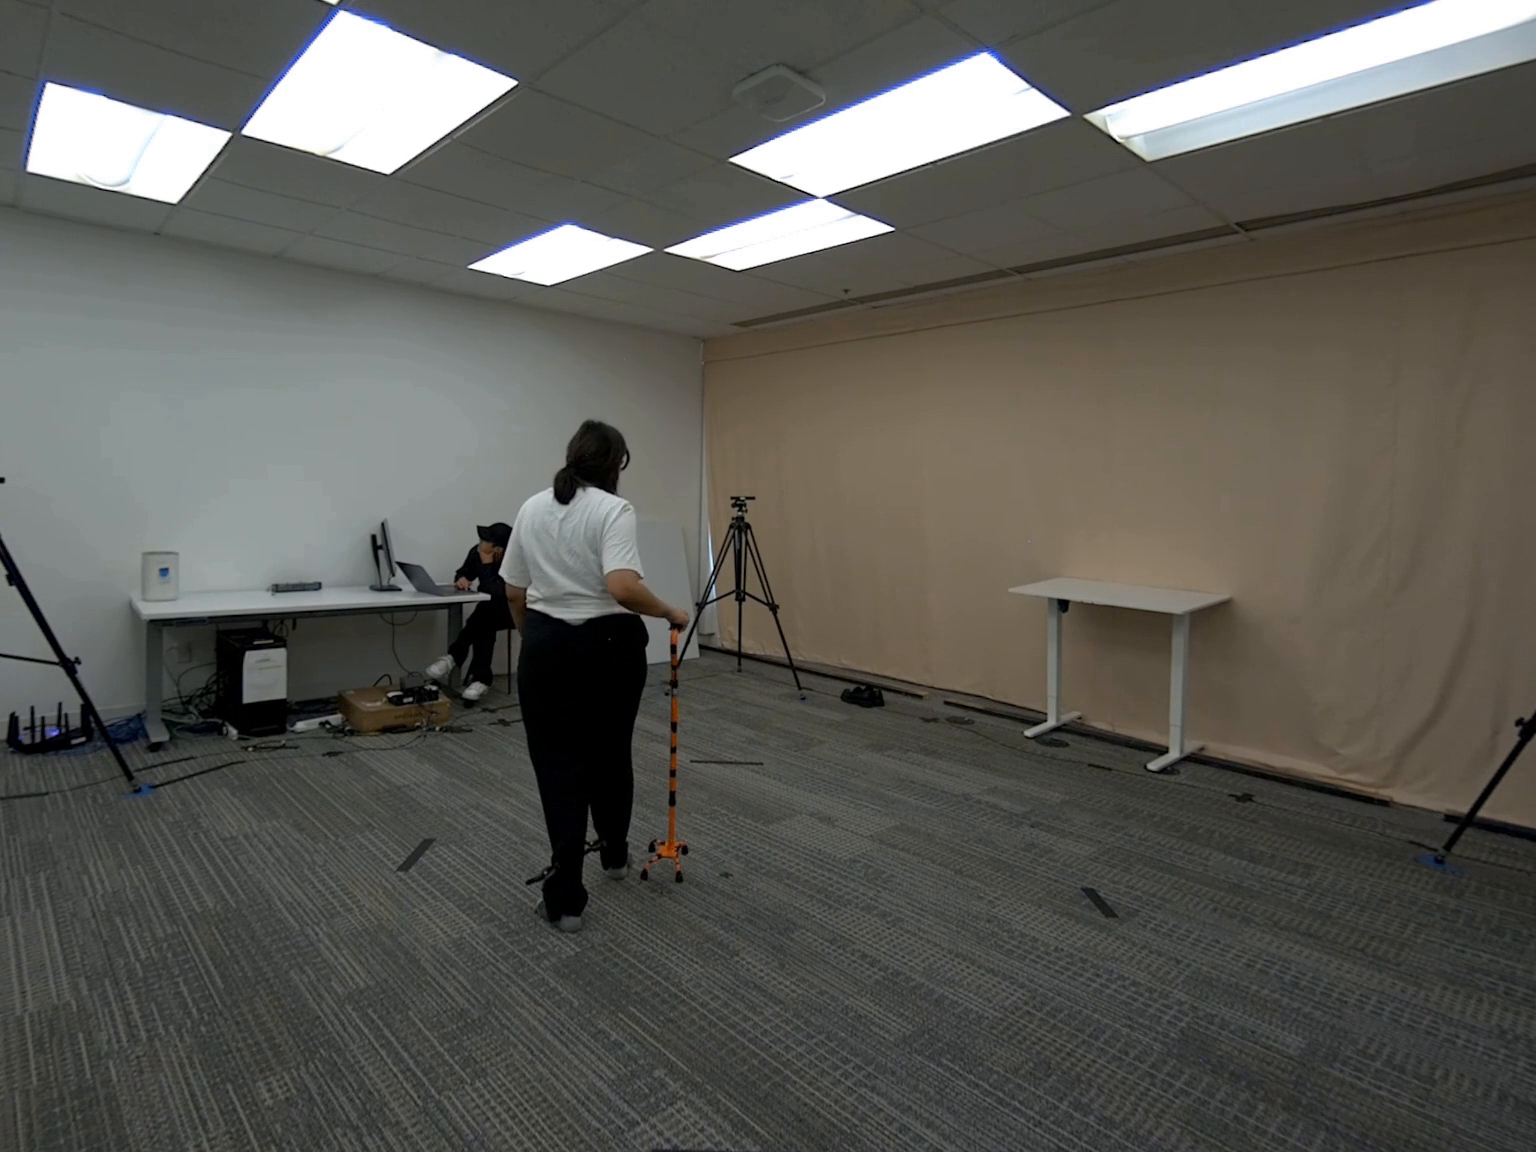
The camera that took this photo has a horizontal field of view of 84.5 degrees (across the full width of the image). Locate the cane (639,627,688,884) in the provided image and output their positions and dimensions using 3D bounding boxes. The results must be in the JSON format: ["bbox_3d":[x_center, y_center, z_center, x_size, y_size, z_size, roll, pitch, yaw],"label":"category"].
[{"bbox_3d":[-0.352,0.602,2.939,0.151,0.902,0.208,3,9,-1],"label":"cane"}]
